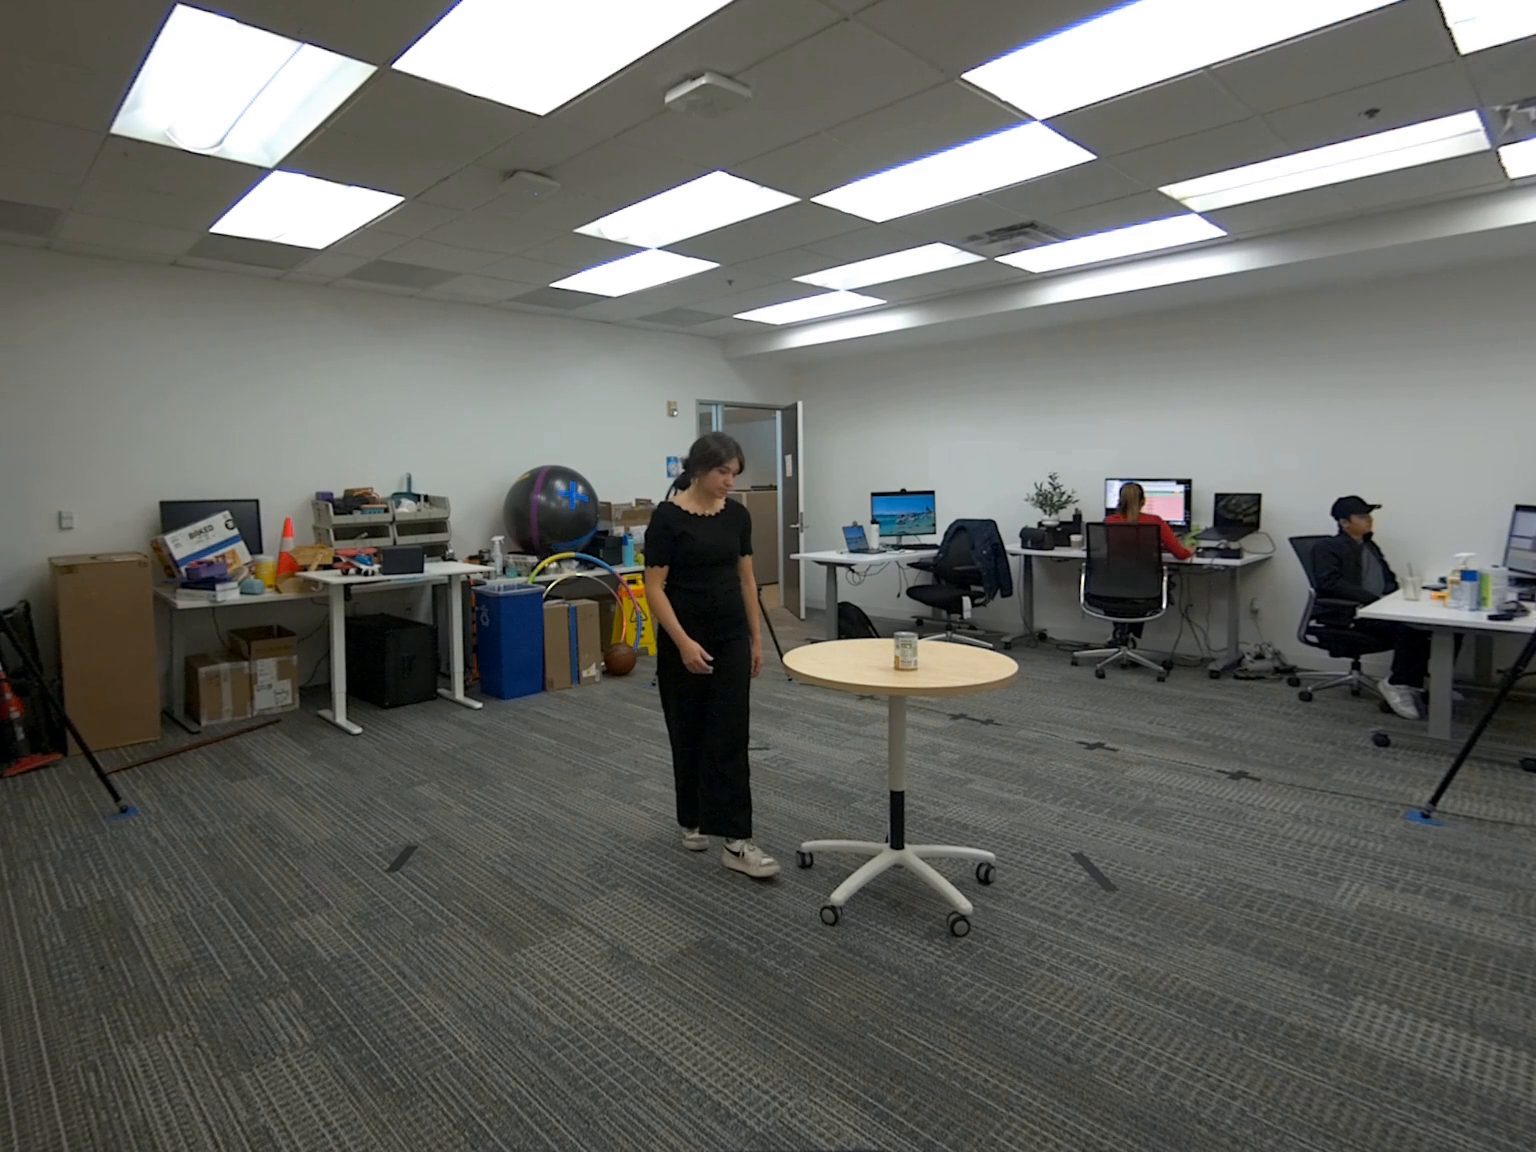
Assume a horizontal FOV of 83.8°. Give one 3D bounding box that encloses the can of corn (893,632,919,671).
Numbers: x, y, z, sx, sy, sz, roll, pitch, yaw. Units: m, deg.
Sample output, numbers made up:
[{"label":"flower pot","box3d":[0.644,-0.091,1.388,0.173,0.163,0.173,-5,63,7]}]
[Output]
[{"label":"can of corn","box3d":[0.447,0.243,2.709,0.074,0.110,0.074,0,5,-2]}]
